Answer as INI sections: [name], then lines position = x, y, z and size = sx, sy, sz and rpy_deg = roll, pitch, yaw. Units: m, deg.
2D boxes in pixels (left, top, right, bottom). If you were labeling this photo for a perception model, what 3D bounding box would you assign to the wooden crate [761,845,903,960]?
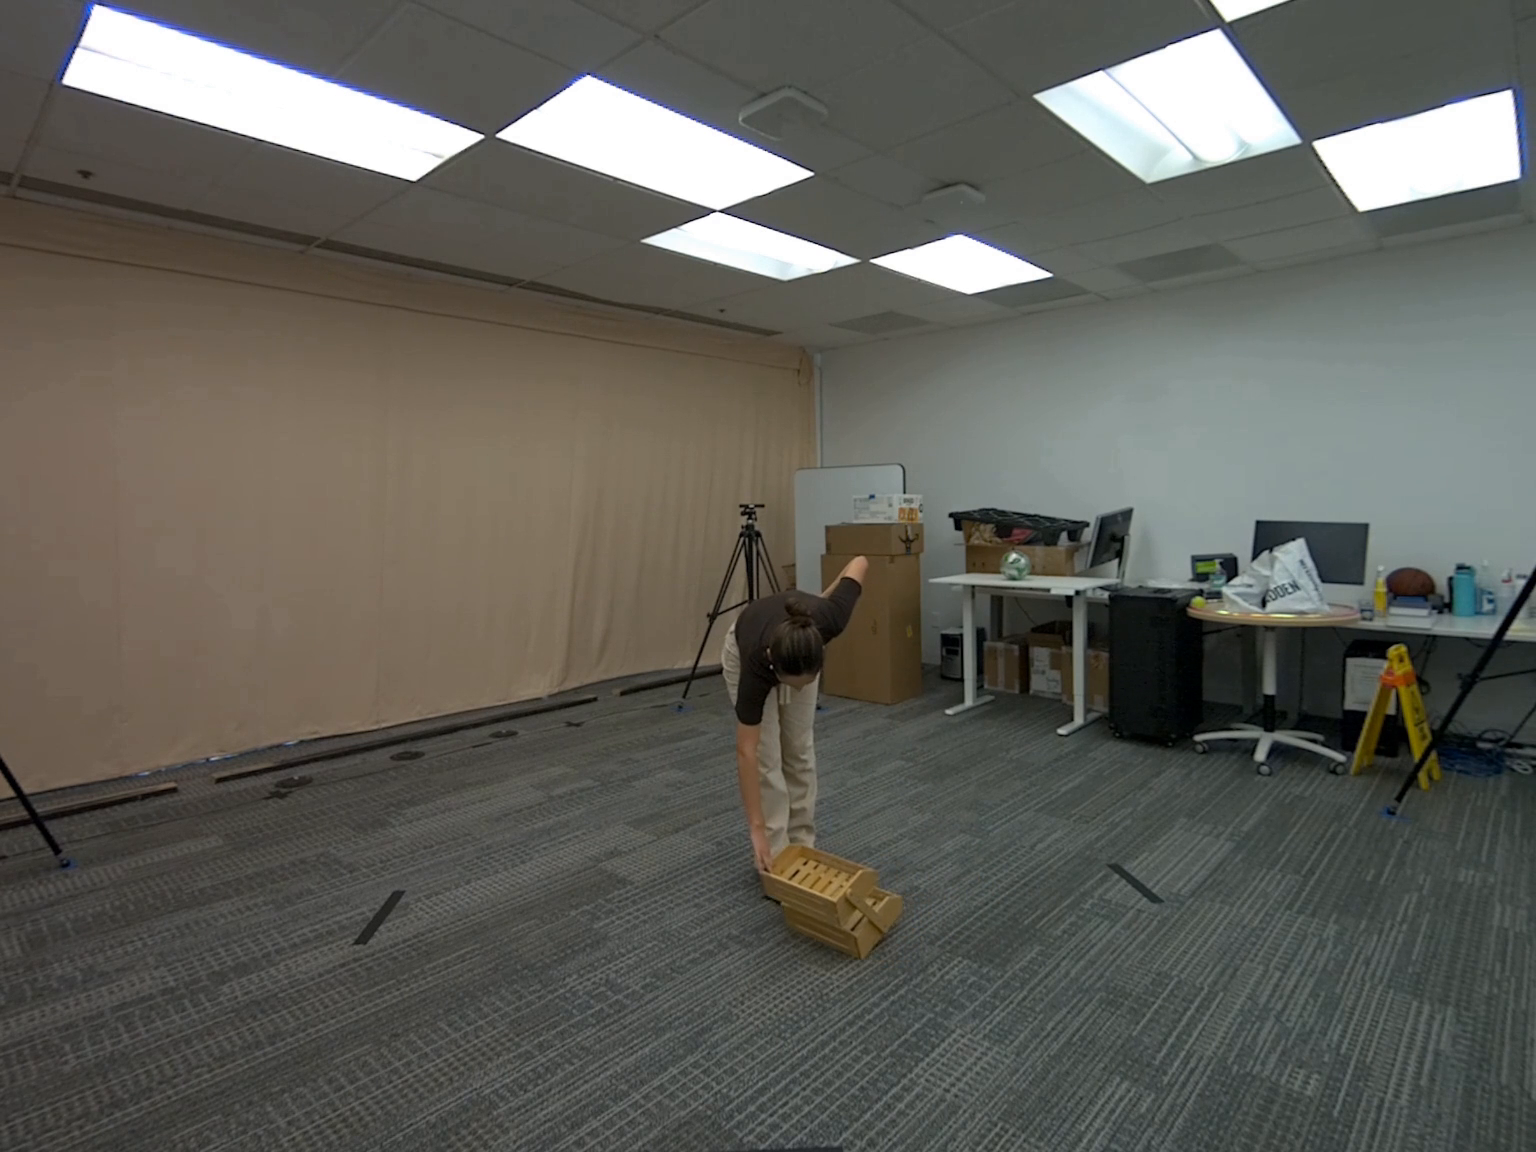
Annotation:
[wooden crate]
position = 0.211, 1.002, 2.695
size = 0.335, 0.269, 0.296
rpy_deg = 2, 24, 43
